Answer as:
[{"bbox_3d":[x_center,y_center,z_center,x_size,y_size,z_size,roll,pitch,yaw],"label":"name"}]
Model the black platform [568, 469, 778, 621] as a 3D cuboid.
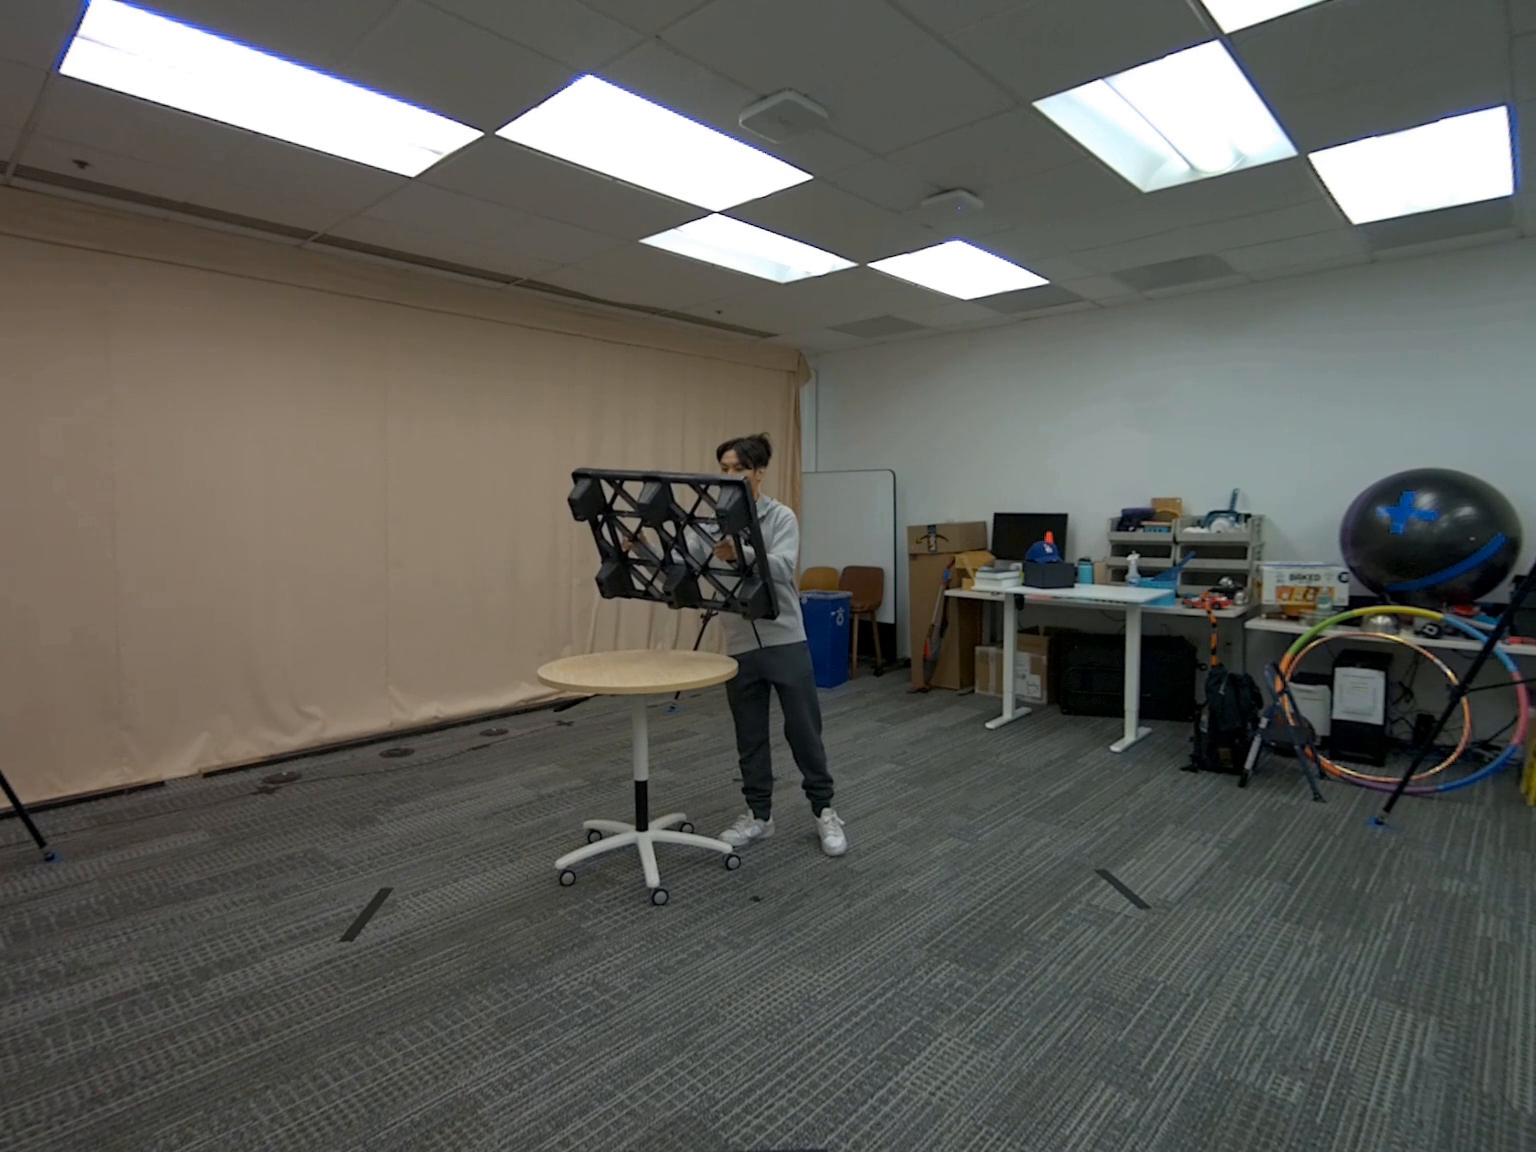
[{"bbox_3d":[-0.387,-0.100,3.211,0.830,0.592,0.142,7,33,32],"label":"black platform"}]
